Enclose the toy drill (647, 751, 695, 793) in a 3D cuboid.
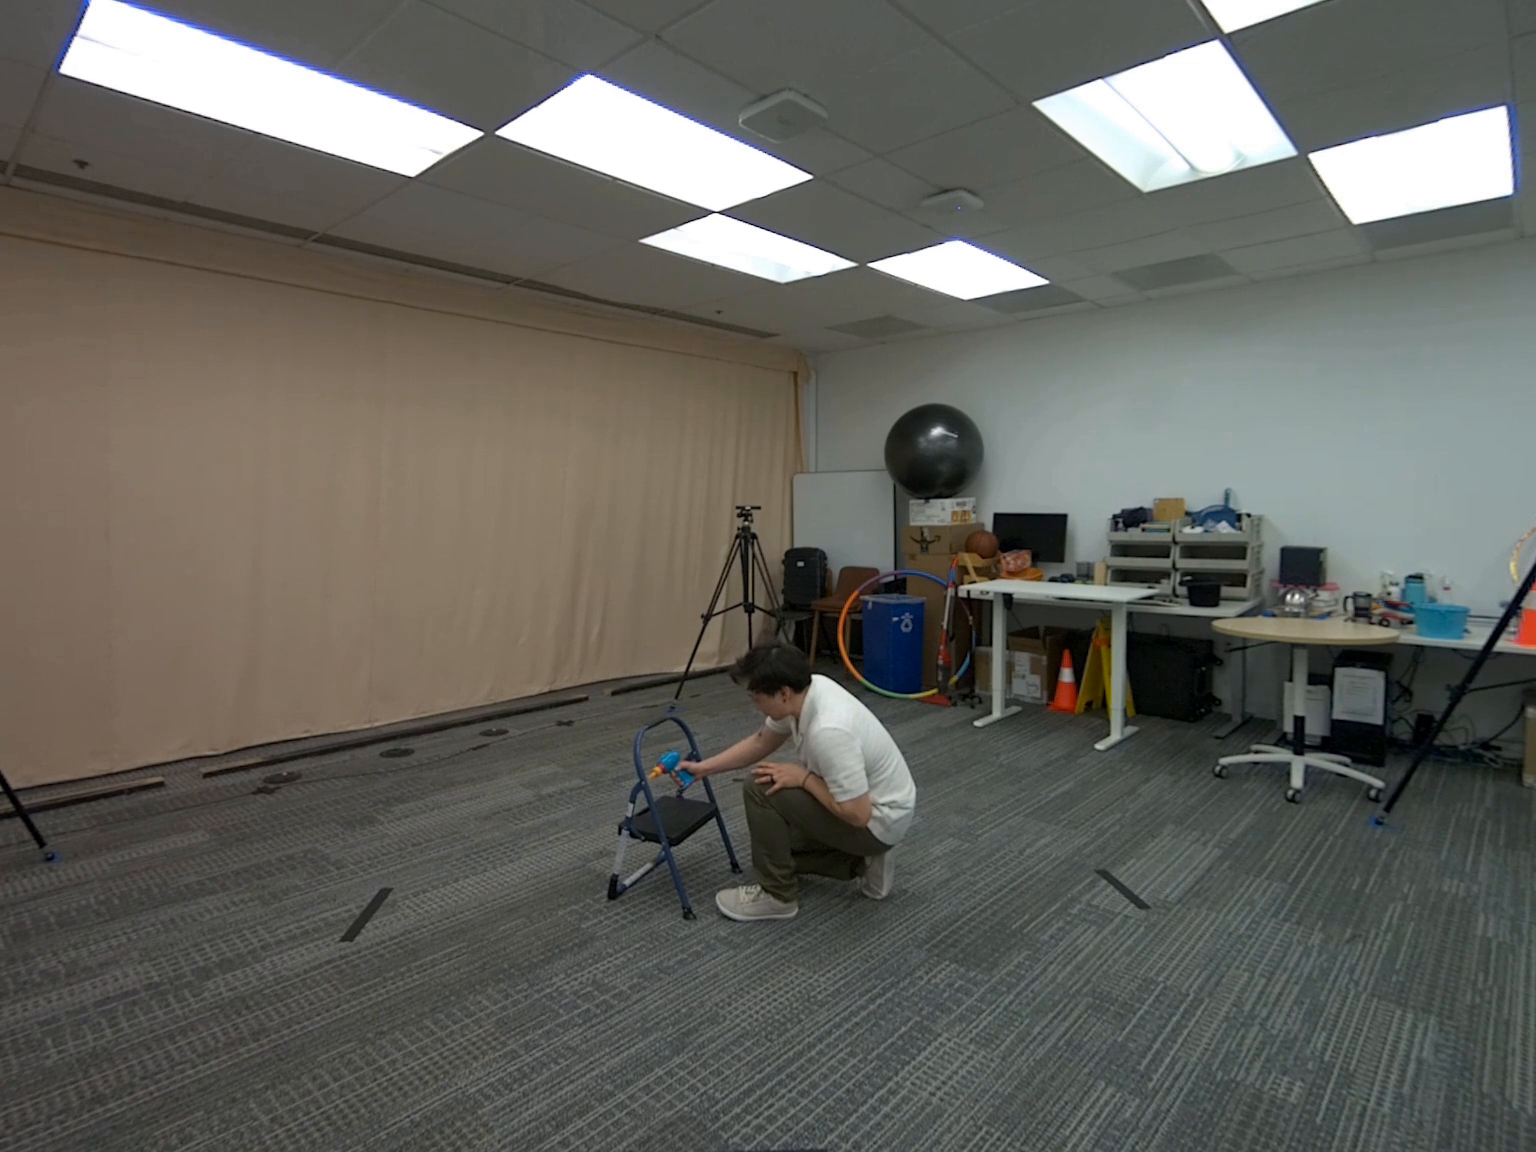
[{"bbox_3d":[-0.332,0.713,3.005,0.062,0.147,0.167,-38,-4,39],"label":"toy drill"}]
